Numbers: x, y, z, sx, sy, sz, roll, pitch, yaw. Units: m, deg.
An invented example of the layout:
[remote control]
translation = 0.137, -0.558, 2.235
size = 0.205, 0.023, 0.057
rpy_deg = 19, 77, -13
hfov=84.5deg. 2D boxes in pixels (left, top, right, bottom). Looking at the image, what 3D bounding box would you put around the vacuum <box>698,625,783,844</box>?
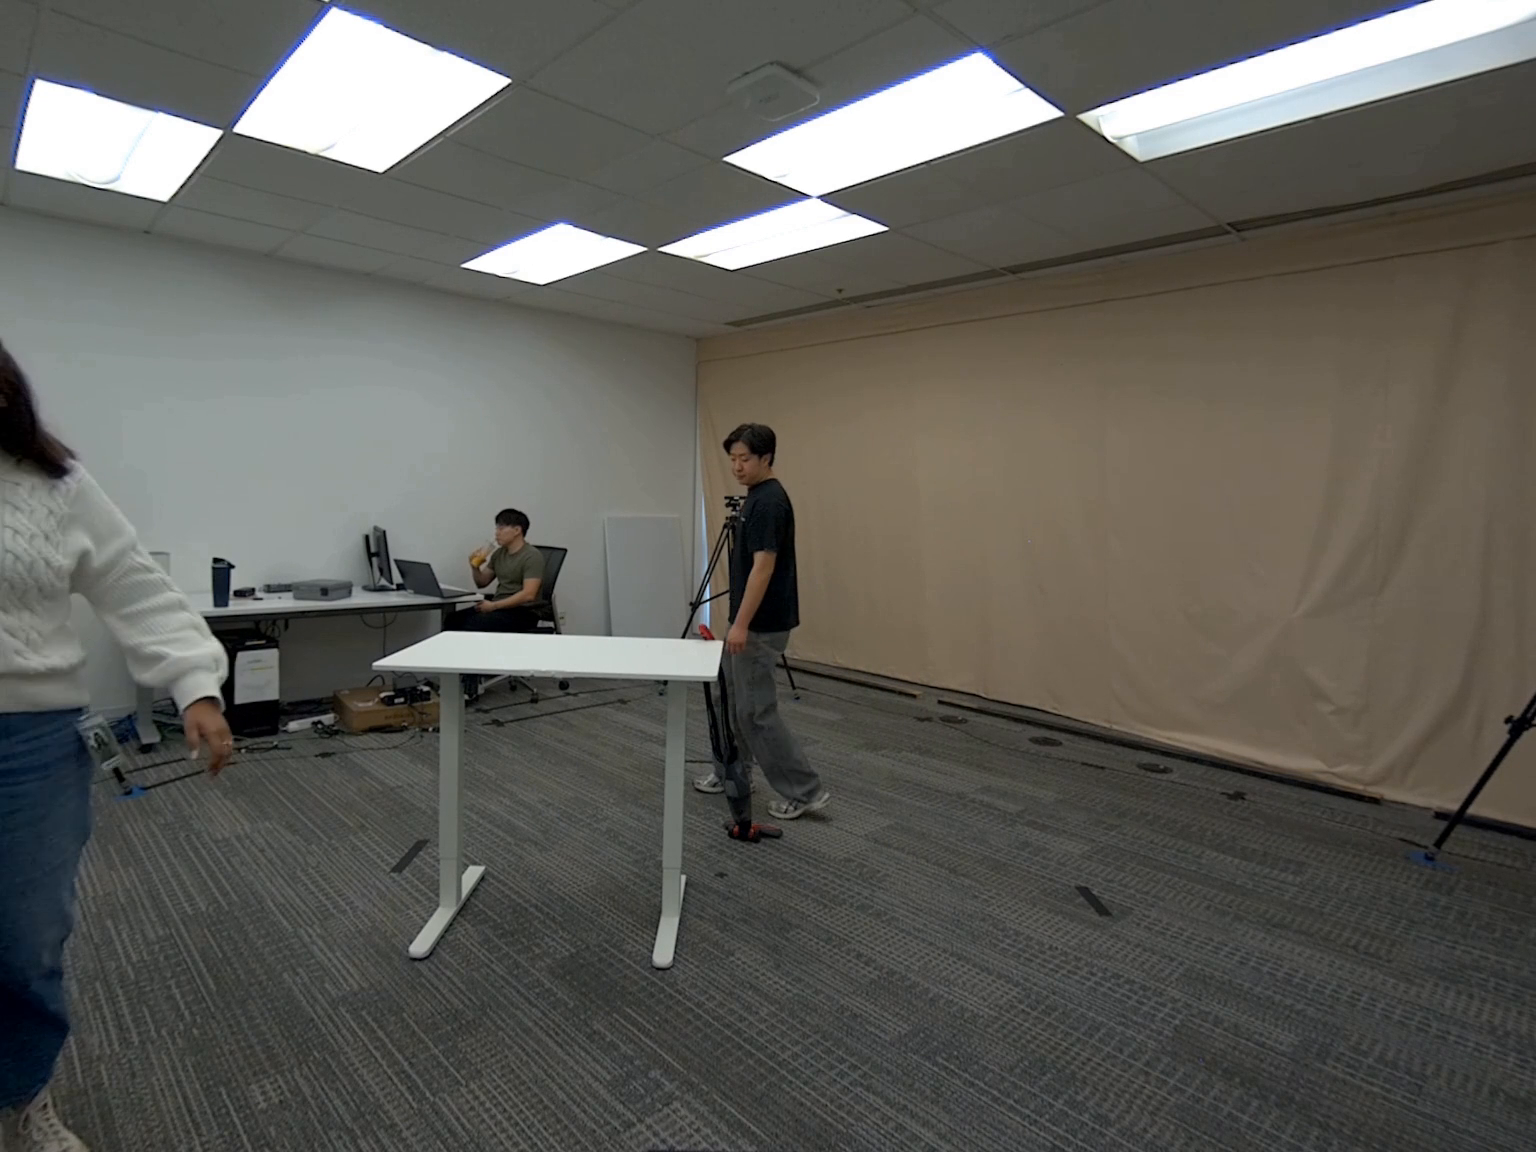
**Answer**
[vacuum]
translation = -0.167, 0.628, 3.226
size = 0.257, 1.026, 0.144
rpy_deg = 4, 33, 24
